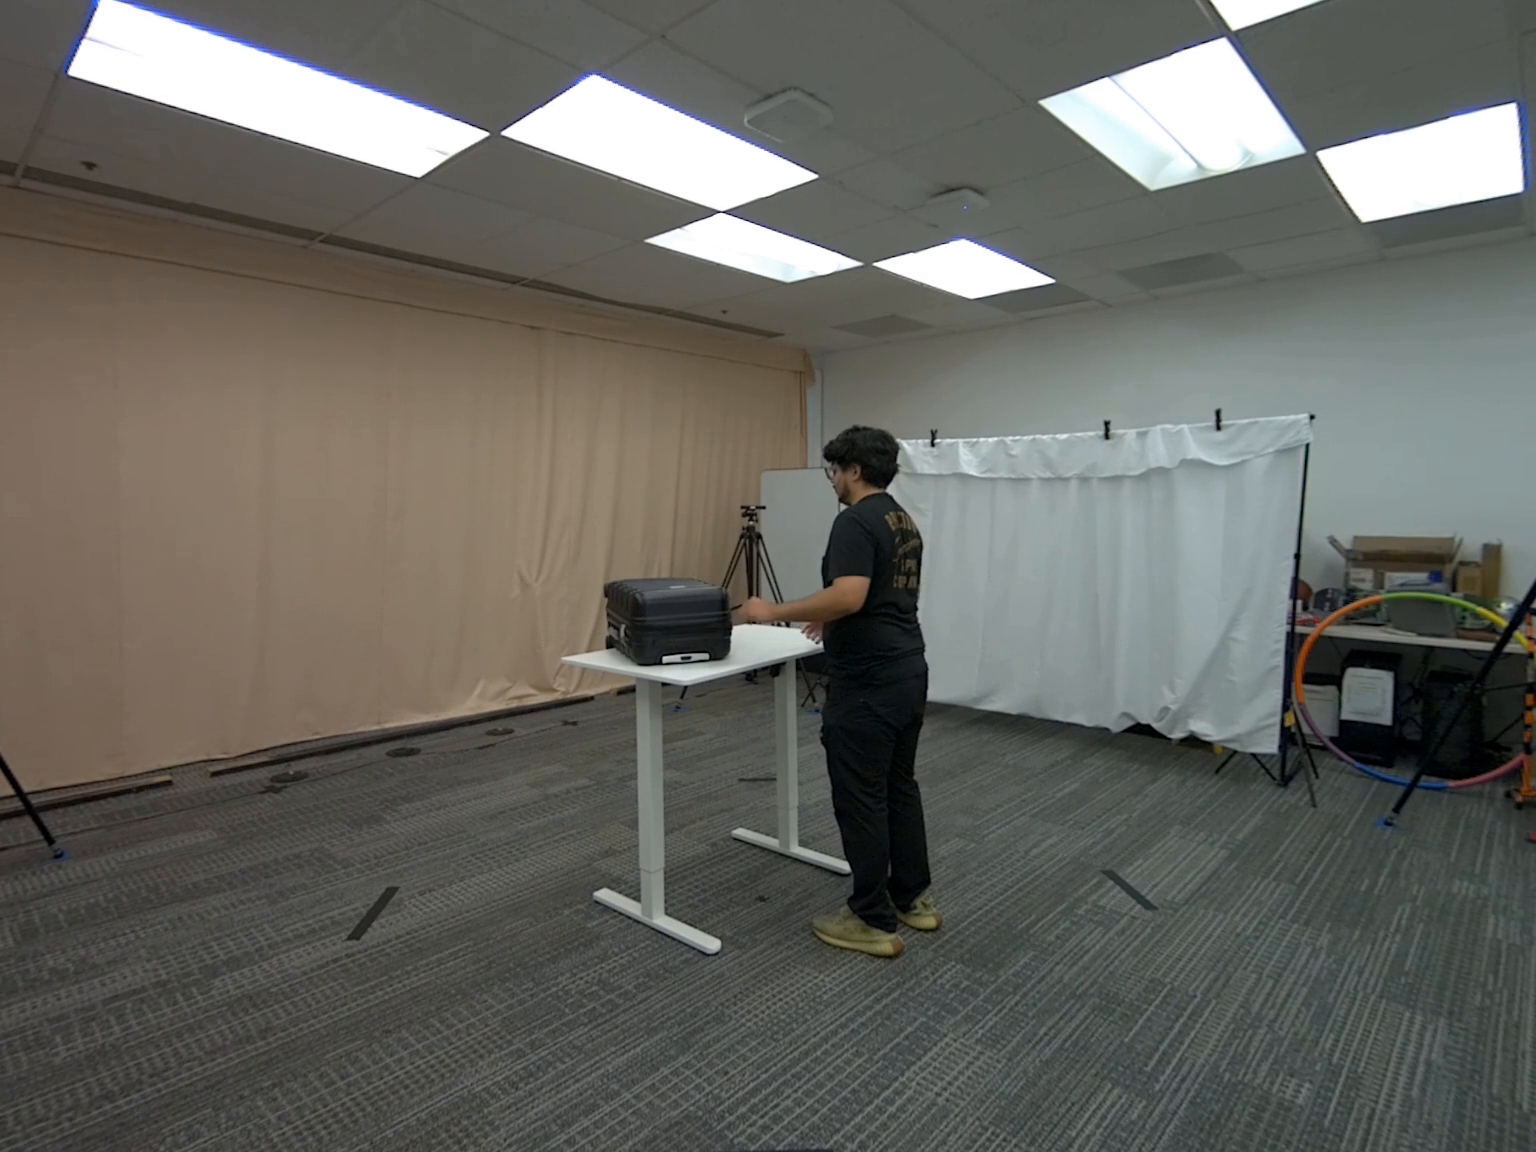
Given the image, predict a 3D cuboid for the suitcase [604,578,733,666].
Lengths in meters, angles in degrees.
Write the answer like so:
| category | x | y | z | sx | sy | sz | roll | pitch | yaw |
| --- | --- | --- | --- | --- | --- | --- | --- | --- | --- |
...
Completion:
| category | x | y | z | sx | sy | sz | roll | pitch | yaw |
| --- | --- | --- | --- | --- | --- | --- | --- | --- | --- |
| suitcase | -0.352 | 0.152 | 2.959 | 0.368 | 0.247 | 0.562 | -3 | 5 | -21 |
